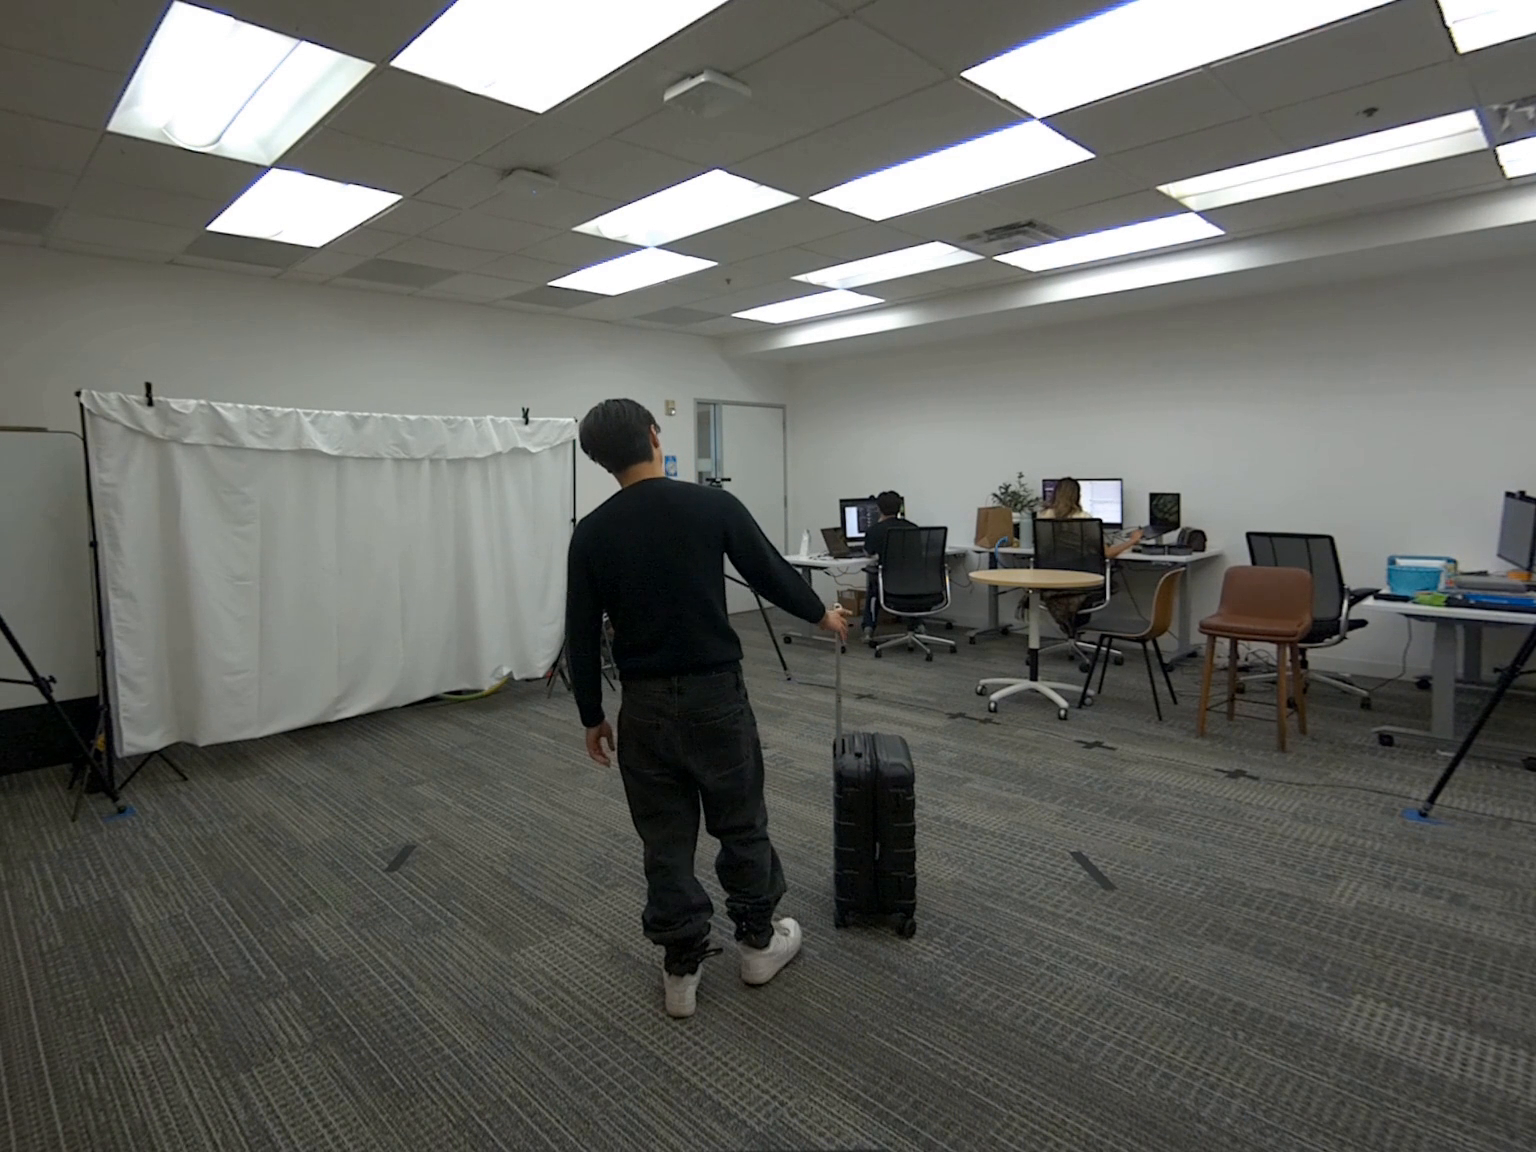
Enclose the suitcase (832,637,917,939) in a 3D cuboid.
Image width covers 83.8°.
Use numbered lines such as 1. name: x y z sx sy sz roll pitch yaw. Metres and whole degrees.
1. suitcase: 0.343 0.599 2.736 0.258 0.975 0.383 1 5 4
